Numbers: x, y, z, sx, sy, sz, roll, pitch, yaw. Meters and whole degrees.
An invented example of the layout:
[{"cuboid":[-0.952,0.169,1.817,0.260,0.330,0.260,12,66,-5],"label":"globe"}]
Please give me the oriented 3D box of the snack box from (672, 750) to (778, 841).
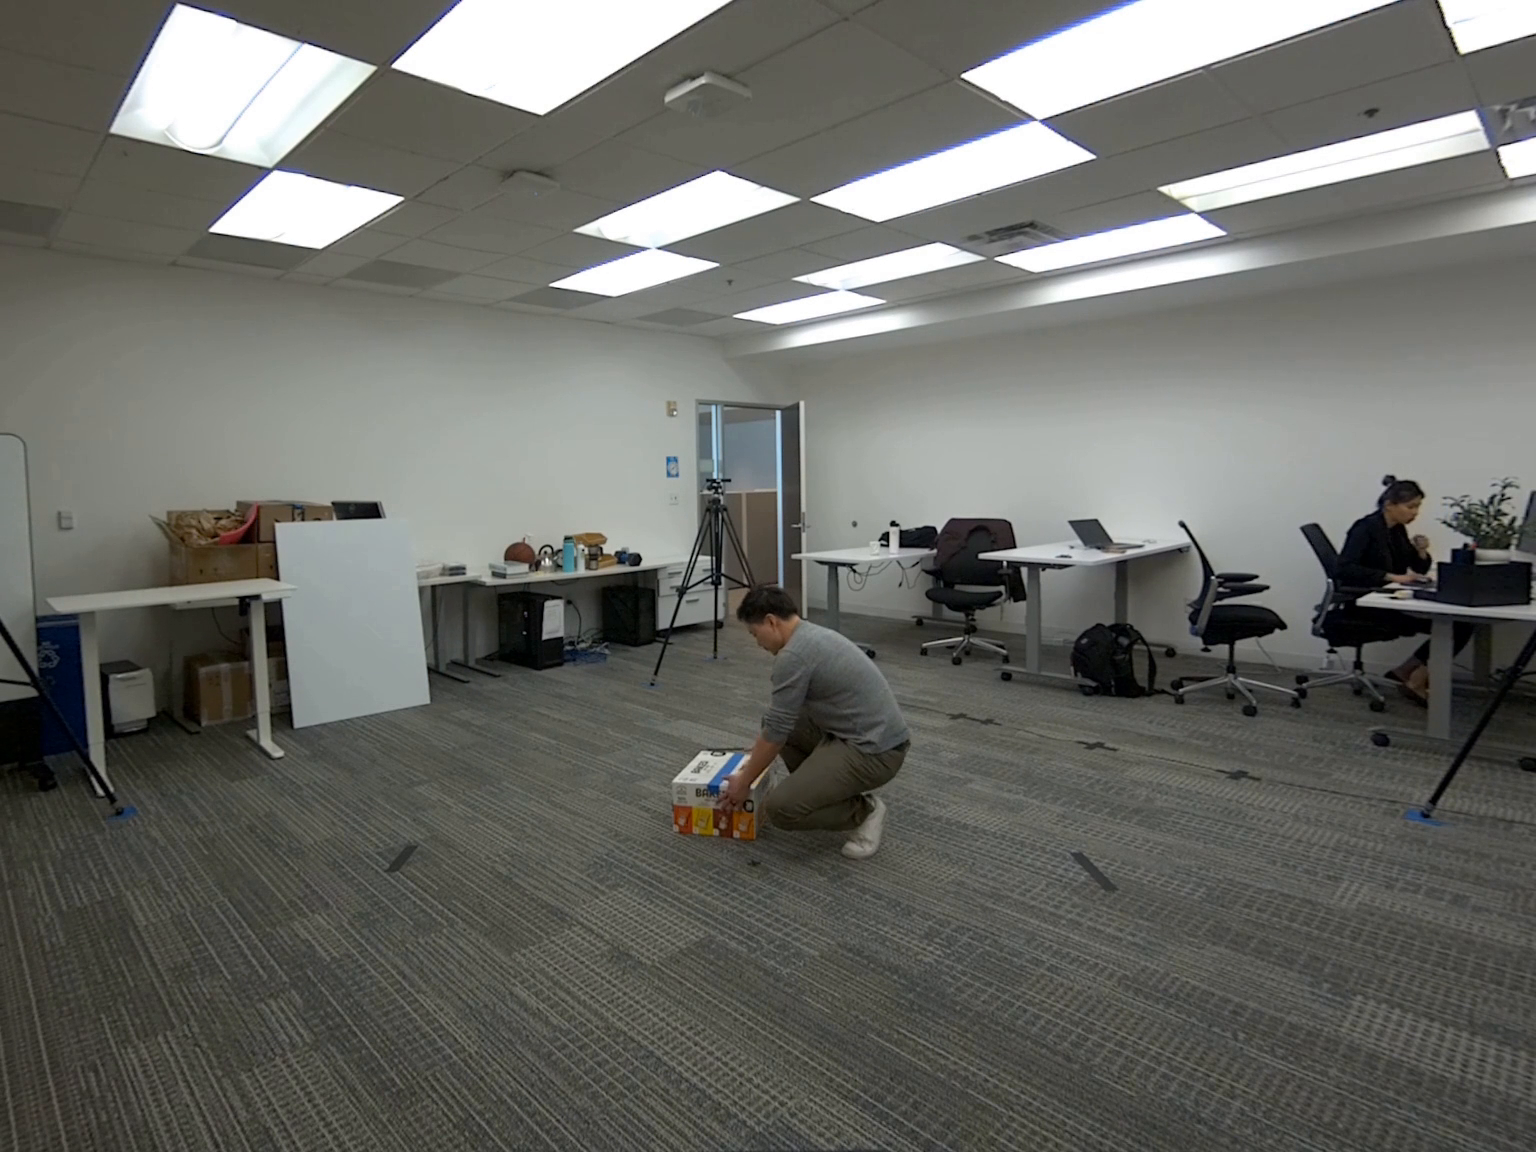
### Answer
[{"cuboid":[-0.178,0.895,3.541,0.345,0.205,0.401,1,6,14],"label":"snack box"}]
